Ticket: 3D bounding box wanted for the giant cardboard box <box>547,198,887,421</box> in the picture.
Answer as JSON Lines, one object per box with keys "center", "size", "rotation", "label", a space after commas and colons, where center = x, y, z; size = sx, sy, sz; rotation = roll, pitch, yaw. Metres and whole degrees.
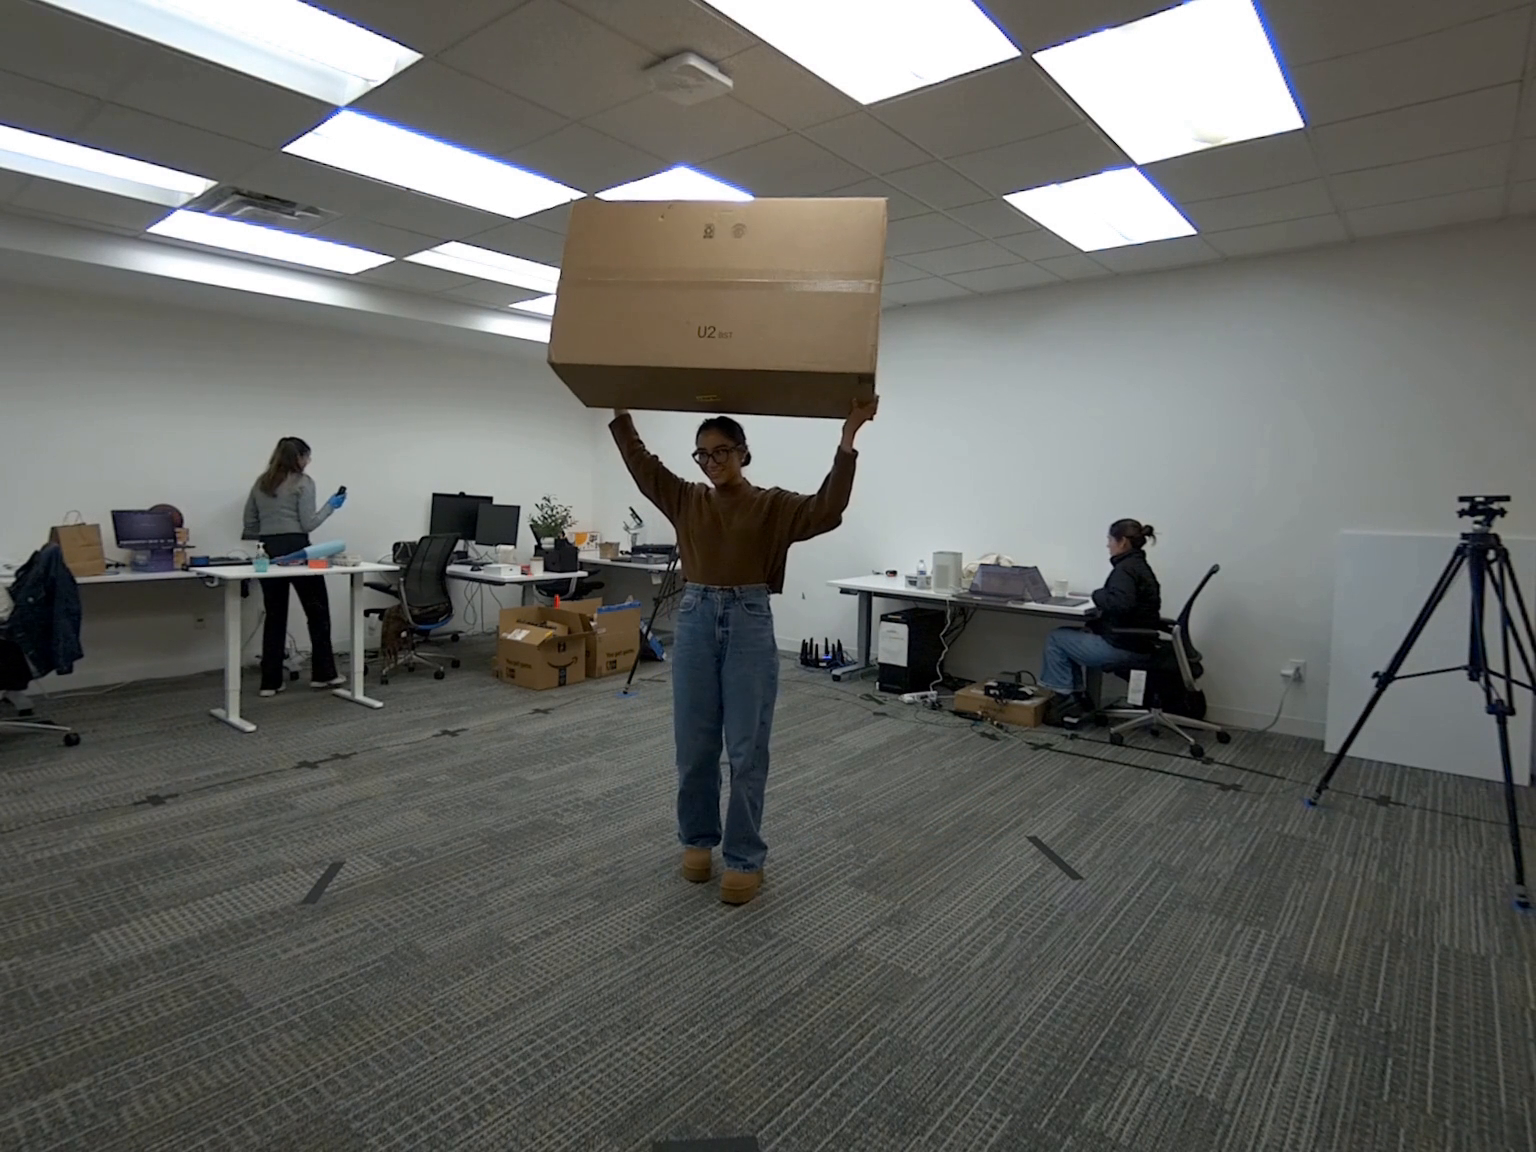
{"center": [-0.152, -0.877, 2.831], "size": [1.038, 0.583, 0.417], "rotation": [4, -11, 10], "label": "giant cardboard box"}
